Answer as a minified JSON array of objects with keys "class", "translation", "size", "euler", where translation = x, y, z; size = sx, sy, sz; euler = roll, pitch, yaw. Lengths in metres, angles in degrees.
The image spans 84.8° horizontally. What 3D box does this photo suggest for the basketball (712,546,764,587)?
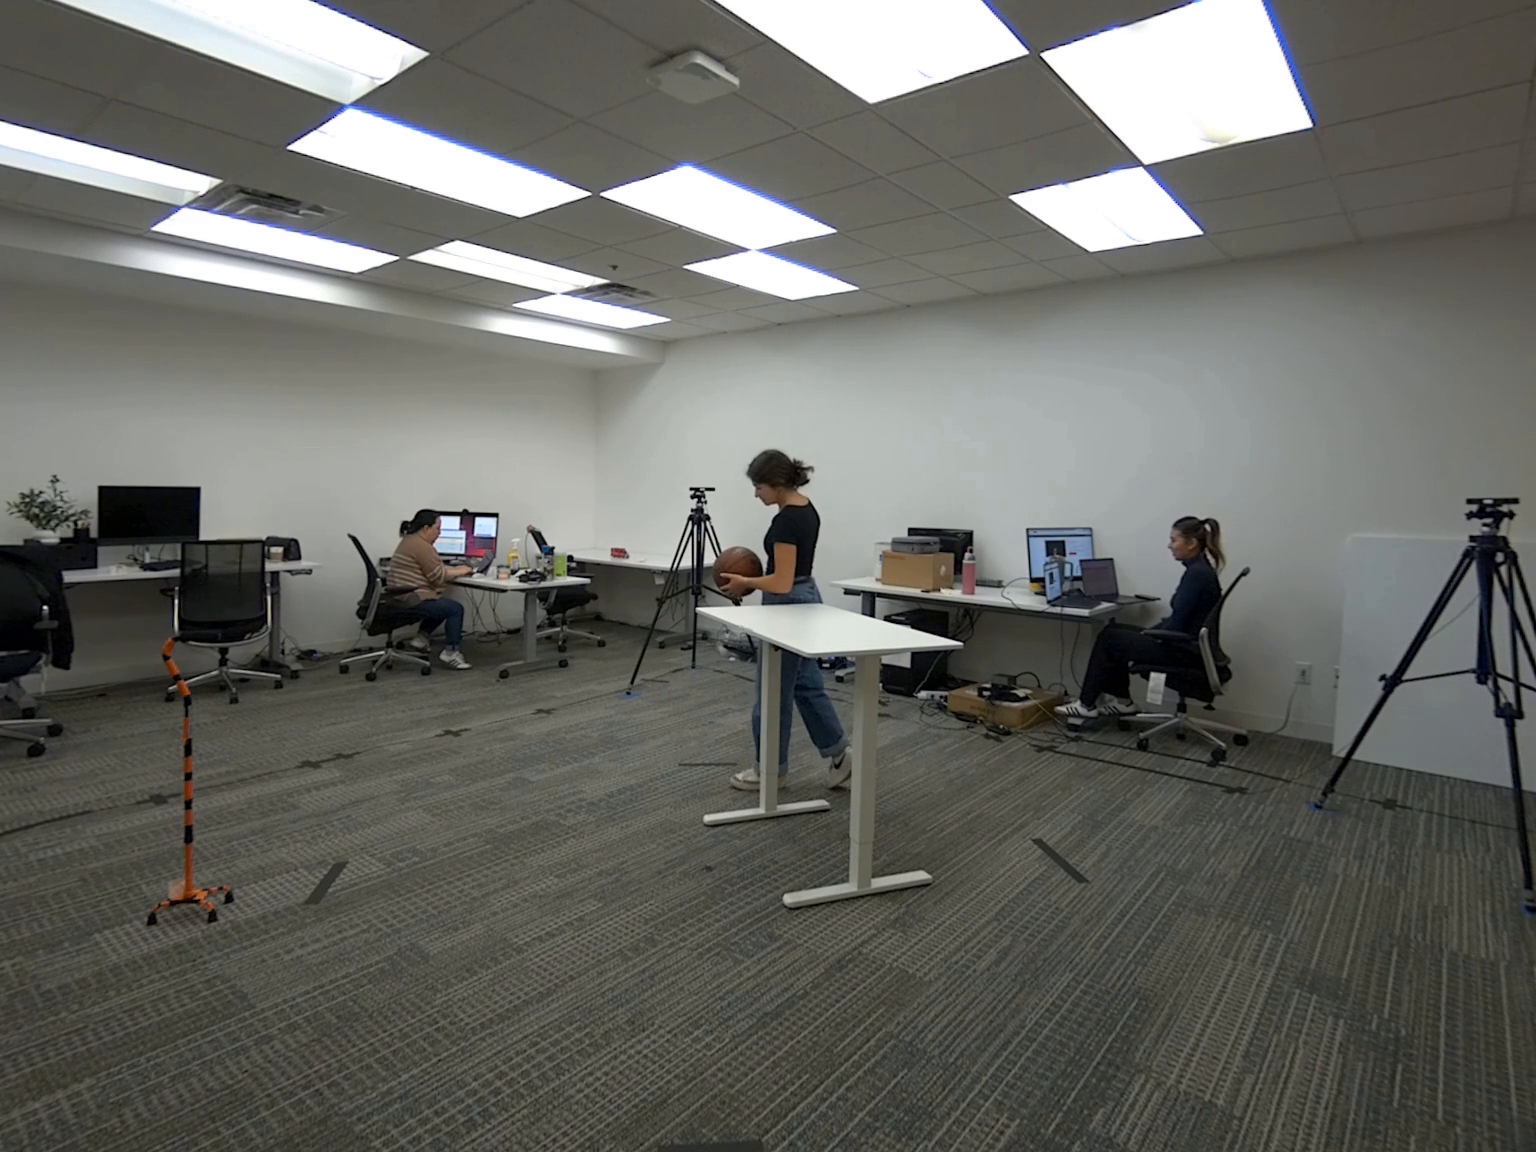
[{"class":"basketball","translation":[-0.145,-0.025,4.028],"size":[0.235,0.235,0.237],"euler":[1,4,-2]}]
